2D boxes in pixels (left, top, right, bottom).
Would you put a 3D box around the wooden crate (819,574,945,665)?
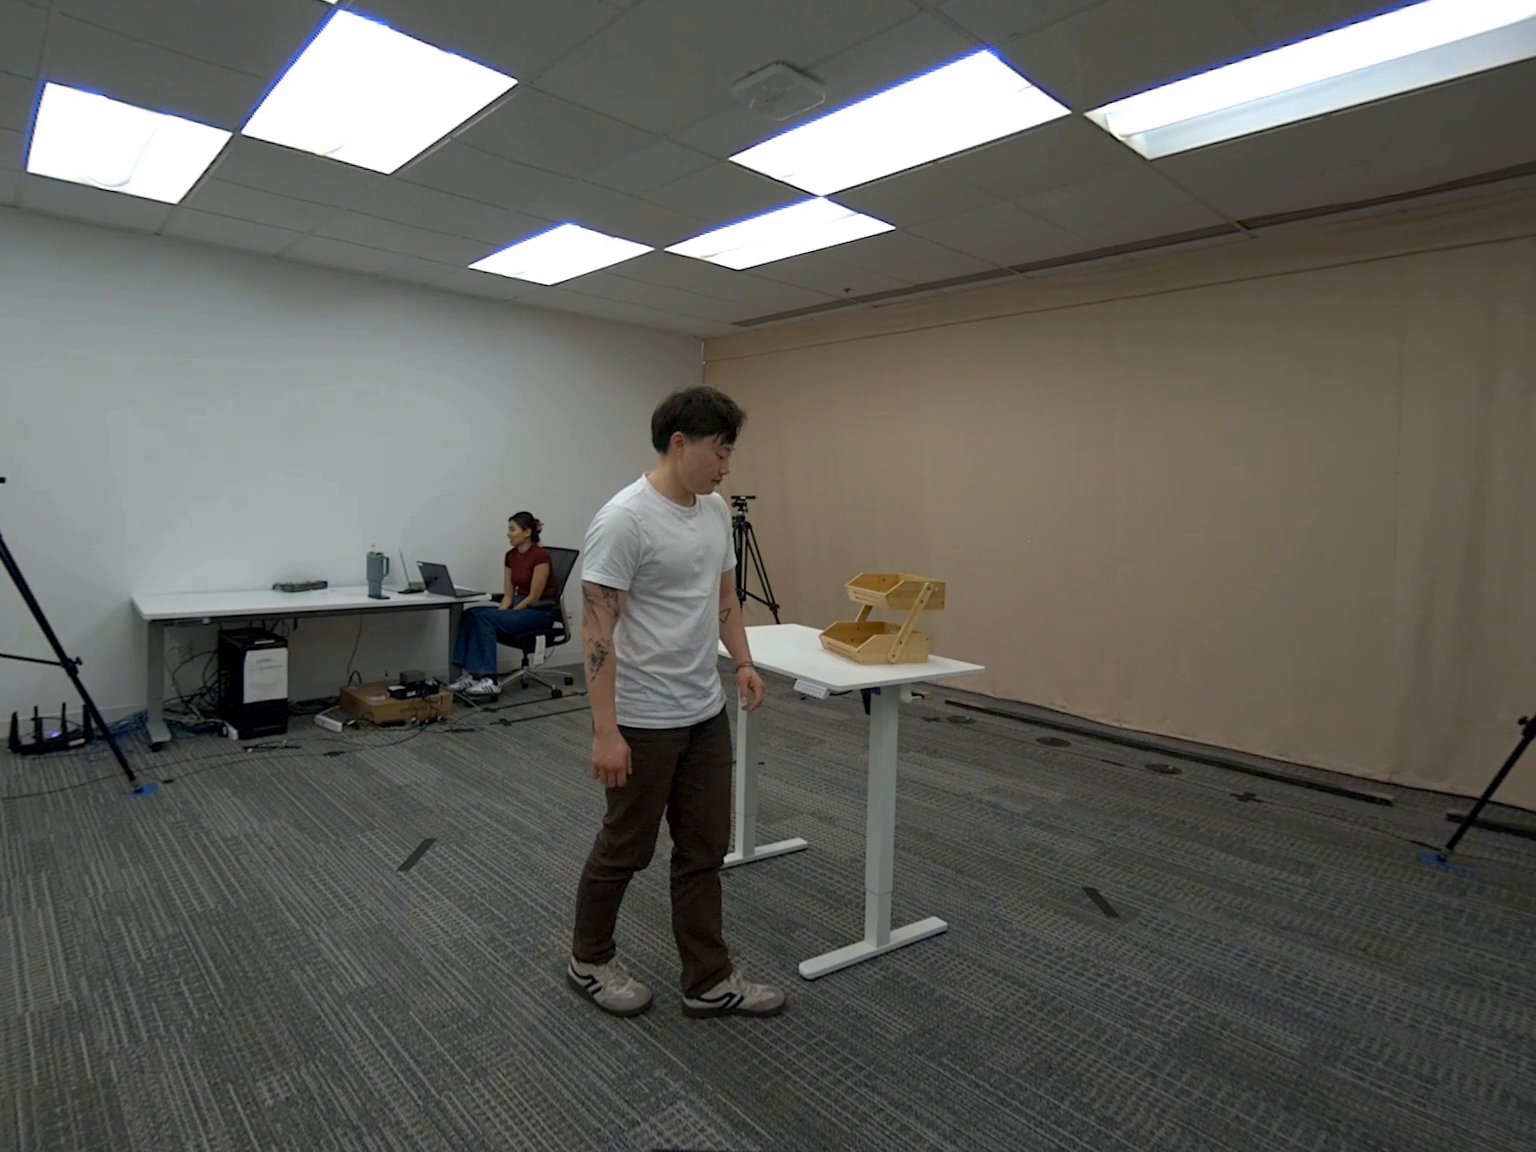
[{"bbox_3d":[0.360,0.133,2.764,0.298,0.272,0.330,1,5,-19],"label":"wooden crate"}]
